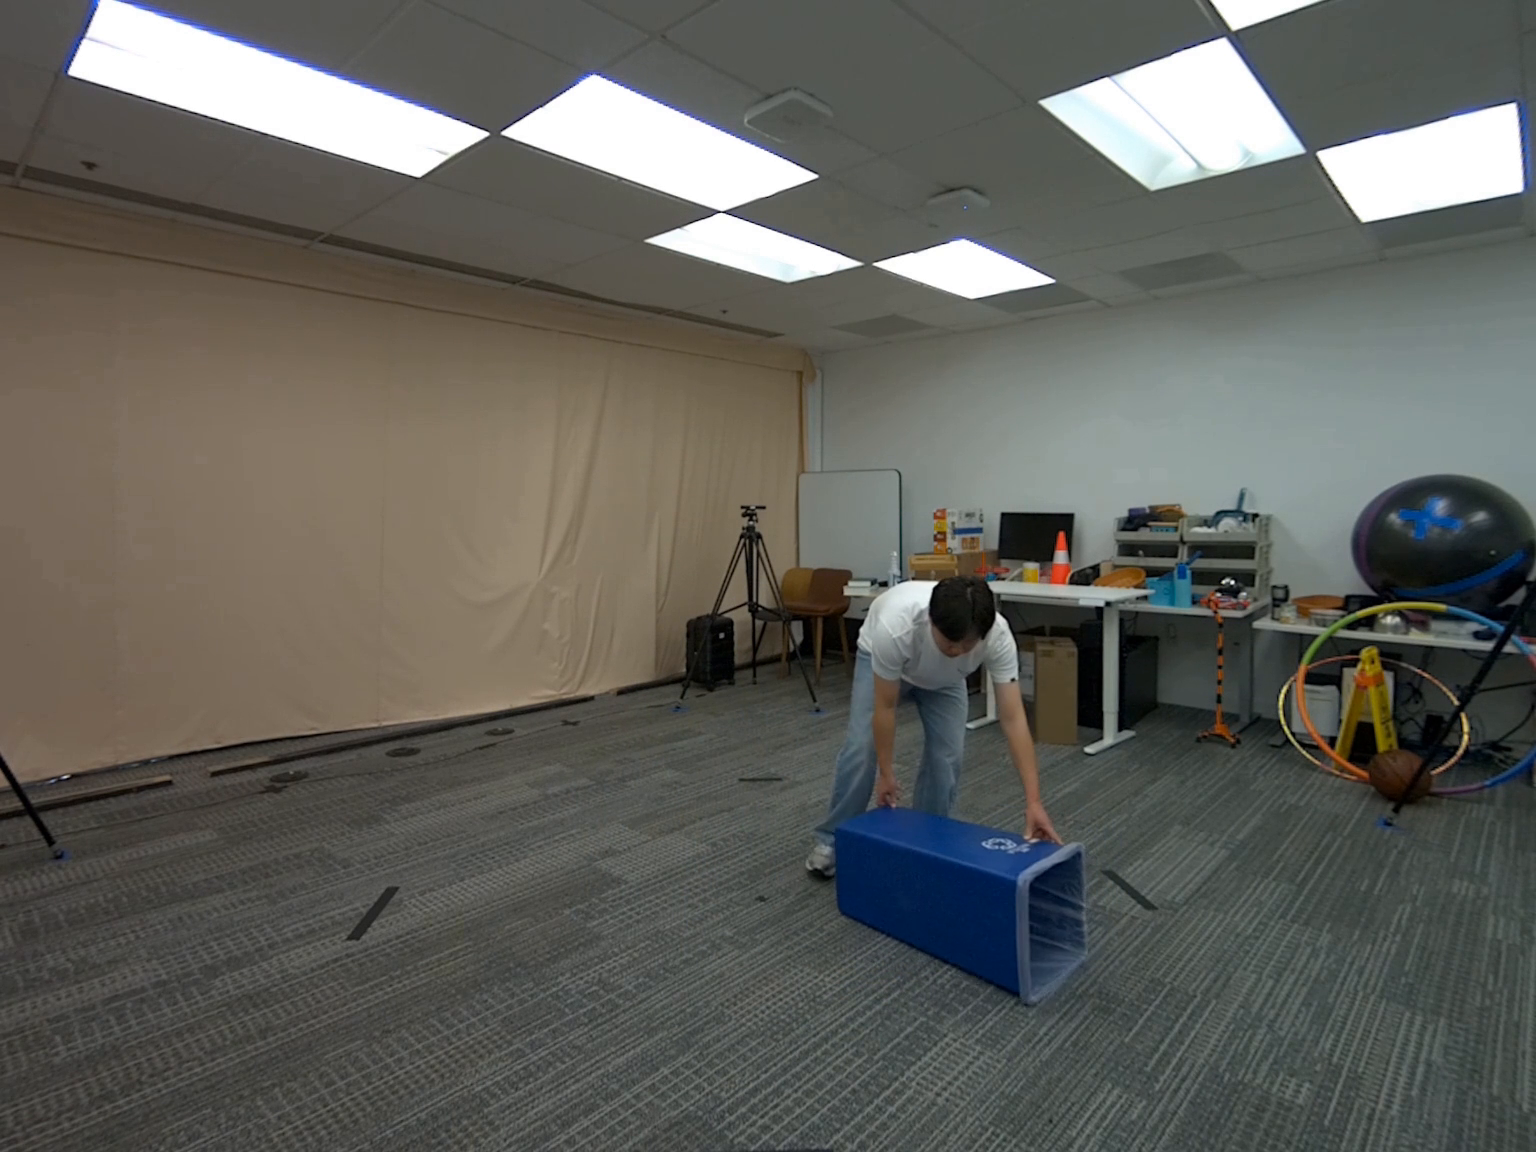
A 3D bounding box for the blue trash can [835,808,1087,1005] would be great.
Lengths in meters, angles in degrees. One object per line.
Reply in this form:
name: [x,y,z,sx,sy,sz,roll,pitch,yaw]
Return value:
blue trash can: [0.589,0.998,2.703,0.363,0.378,0.736,-4,3,-44]
